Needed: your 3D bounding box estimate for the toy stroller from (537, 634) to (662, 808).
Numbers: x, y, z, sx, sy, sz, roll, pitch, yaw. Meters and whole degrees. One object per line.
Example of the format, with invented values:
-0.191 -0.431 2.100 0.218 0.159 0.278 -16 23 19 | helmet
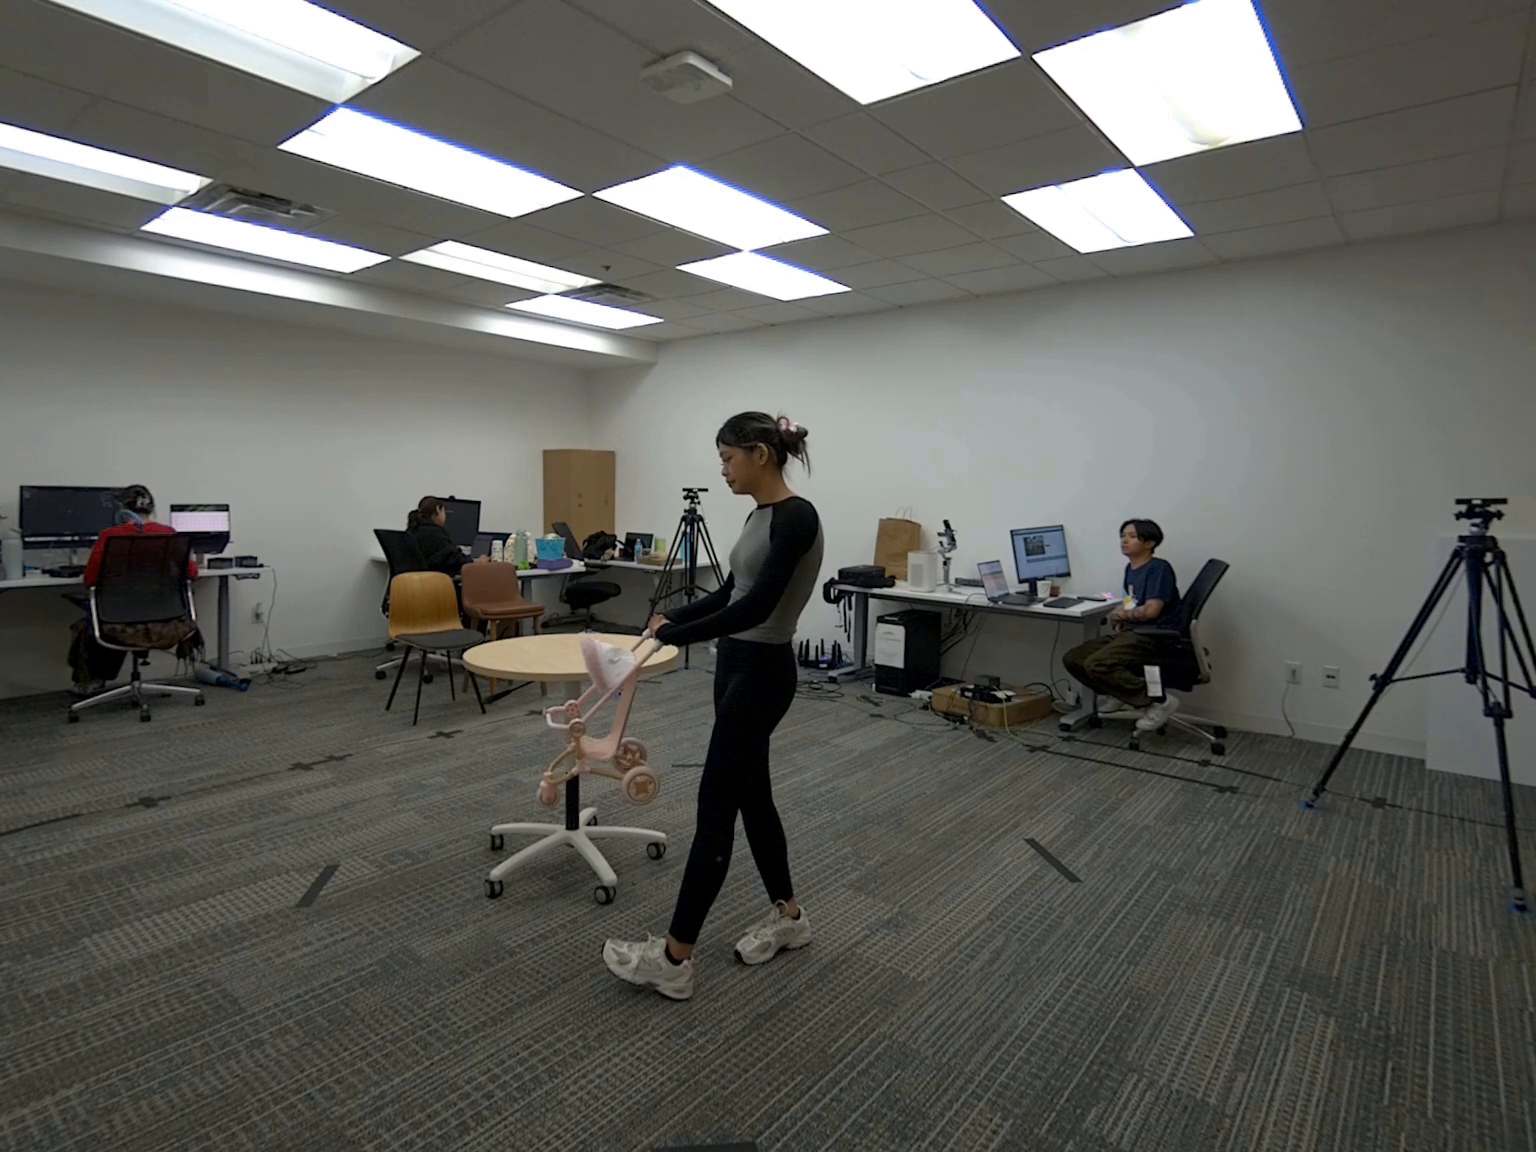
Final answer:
-0.494 0.397 2.426 0.338 0.533 0.285 3 4 -9 | toy stroller
